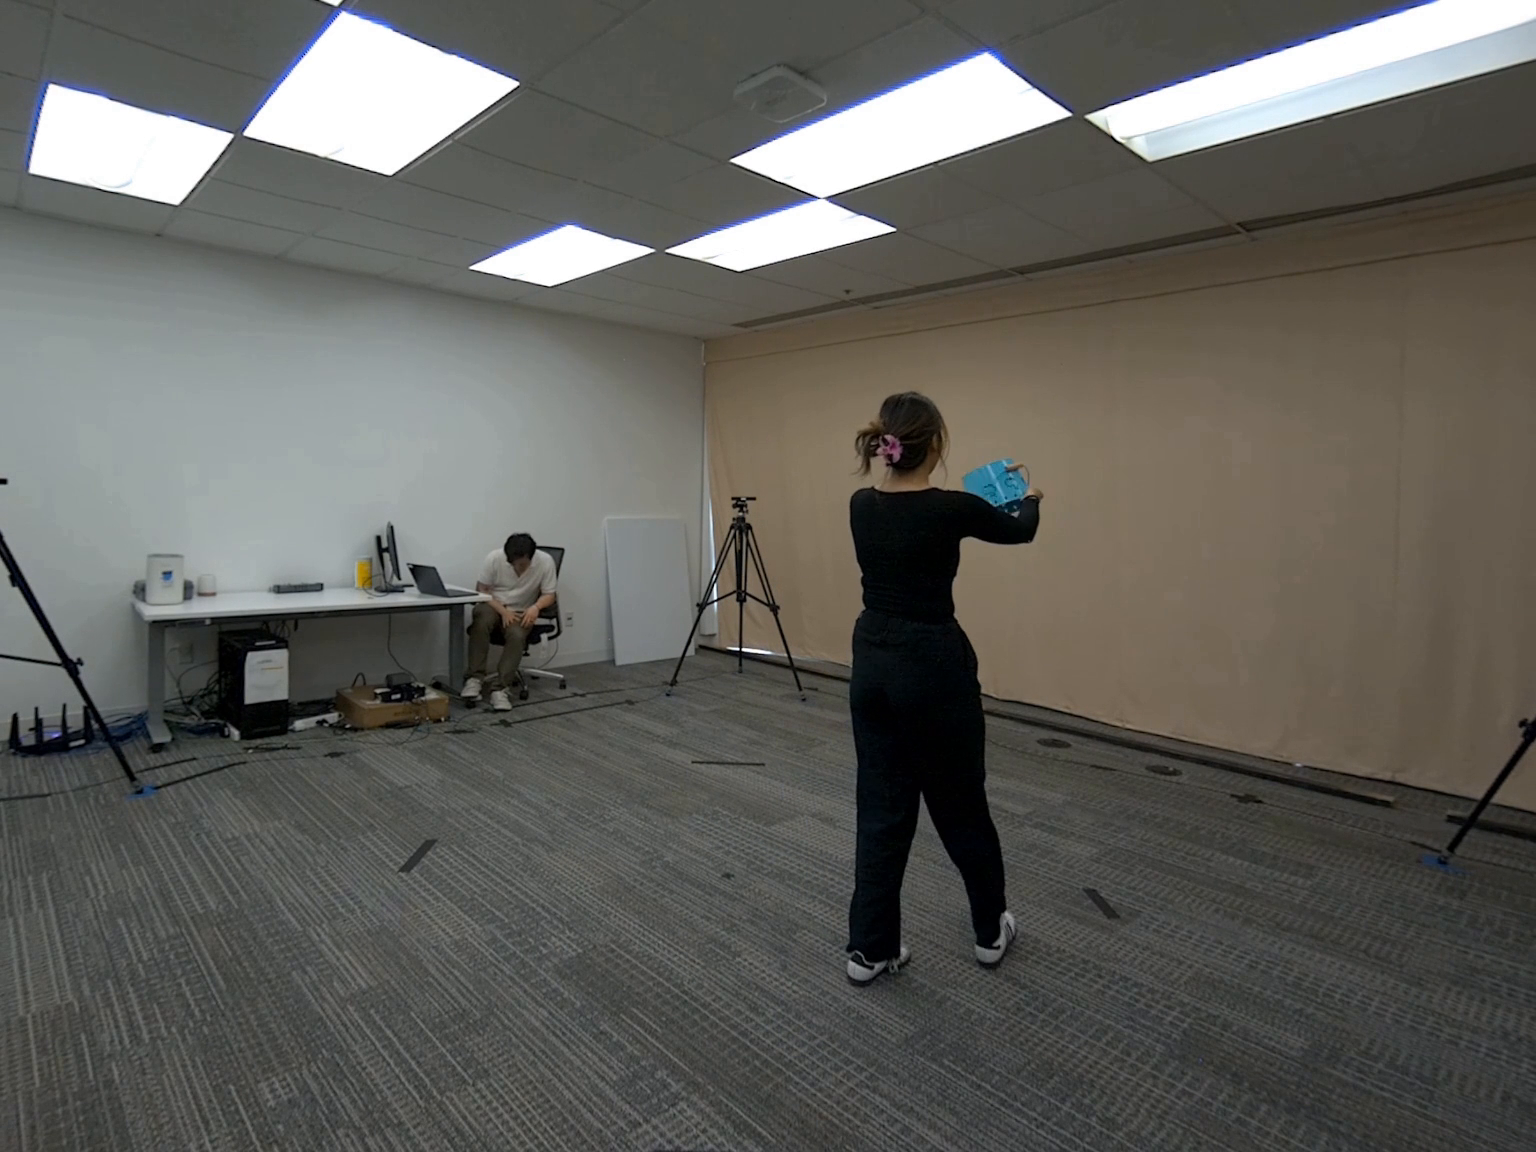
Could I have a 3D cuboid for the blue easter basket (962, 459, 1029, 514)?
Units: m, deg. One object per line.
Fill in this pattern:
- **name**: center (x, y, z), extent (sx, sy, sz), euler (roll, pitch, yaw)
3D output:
- **blue easter basket**: center (0.782, -0.296, 2.883), extent (0.243, 0.158, 0.241), euler (-16, -12, -5)
